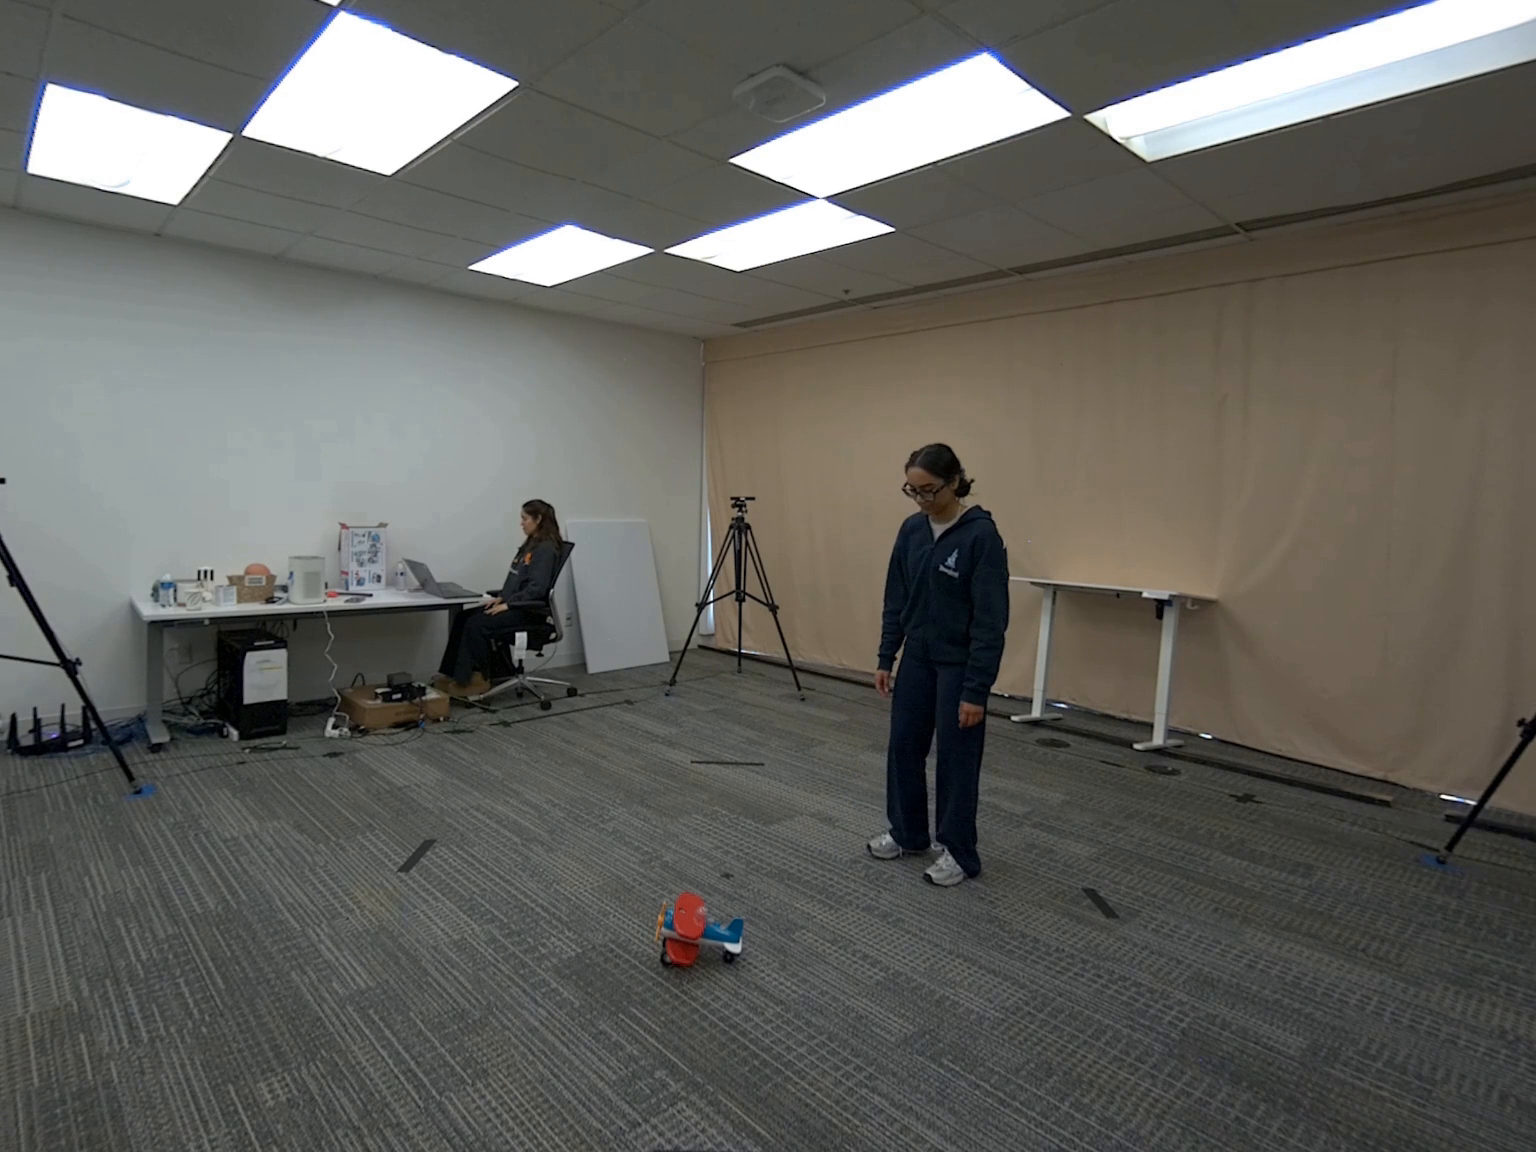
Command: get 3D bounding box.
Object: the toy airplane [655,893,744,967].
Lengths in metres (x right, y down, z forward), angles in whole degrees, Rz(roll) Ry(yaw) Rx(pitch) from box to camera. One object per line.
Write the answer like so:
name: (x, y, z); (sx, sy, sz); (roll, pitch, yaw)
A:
toy airplane: (-0.215, 1.081, 2.550); (0.254, 0.156, 0.256); (-2, 6, -28)
